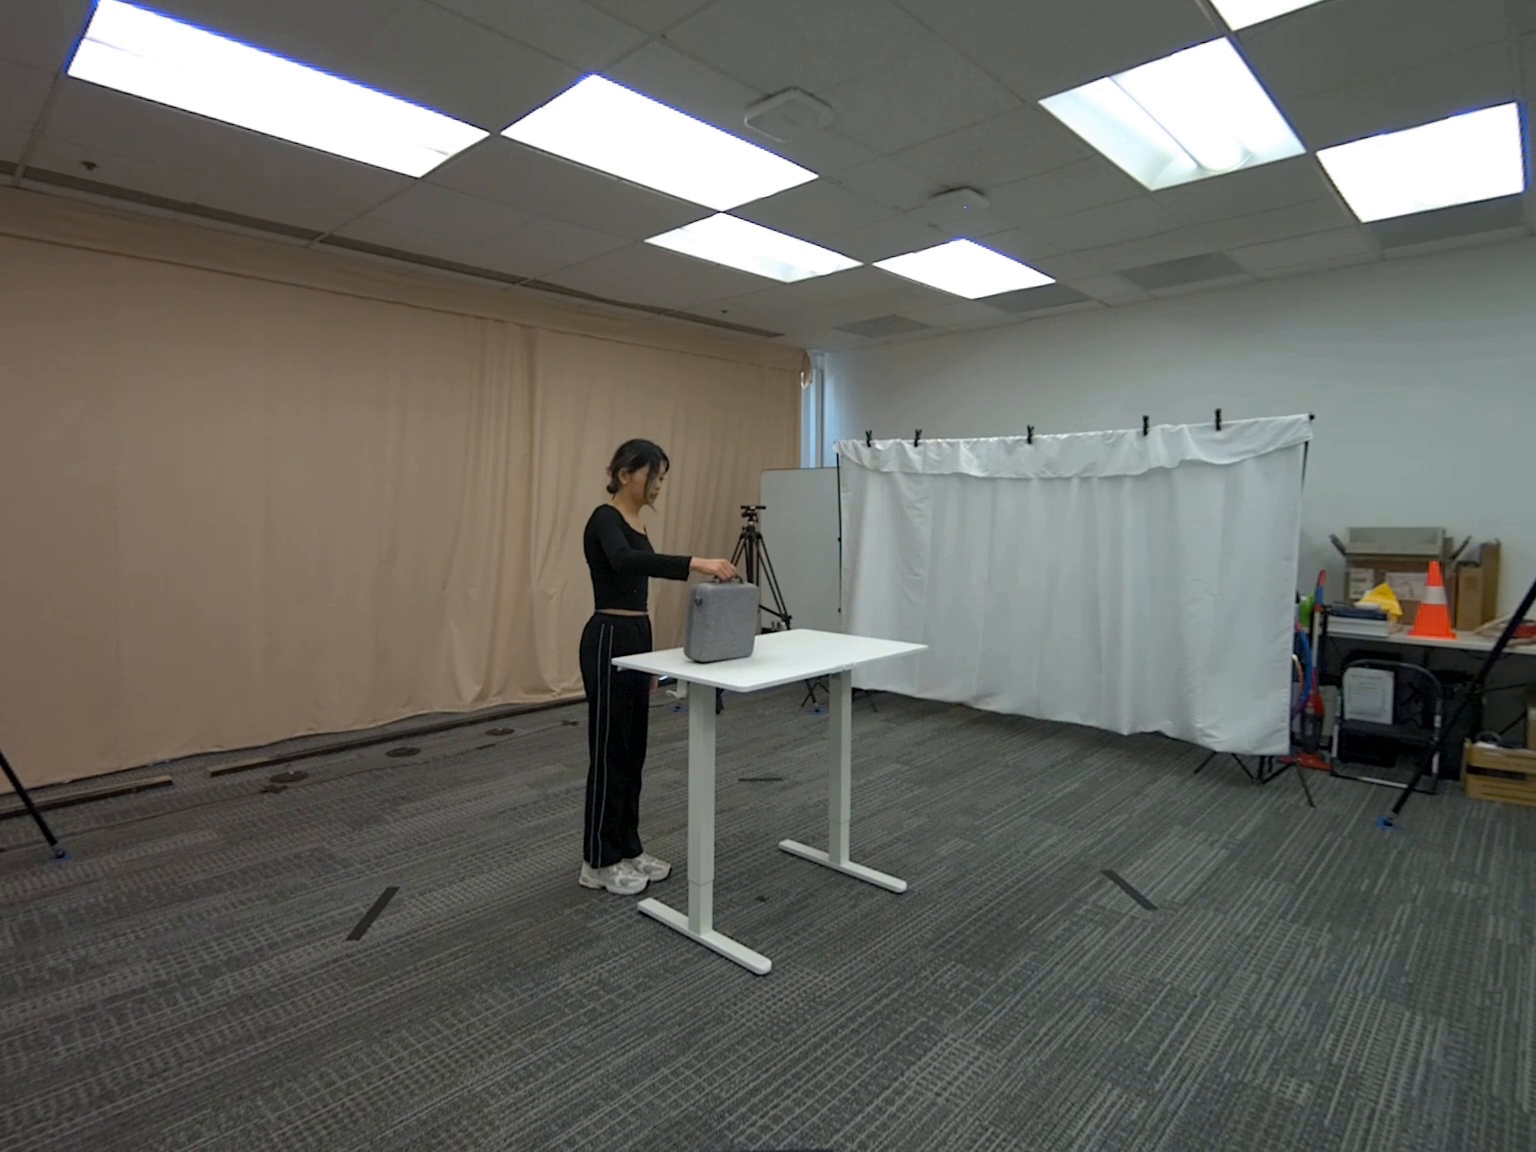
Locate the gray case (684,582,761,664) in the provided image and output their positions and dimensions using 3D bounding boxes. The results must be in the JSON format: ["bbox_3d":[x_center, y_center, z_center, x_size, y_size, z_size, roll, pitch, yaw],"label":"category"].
[{"bbox_3d":[-0.146,0.145,2.774,0.249,0.260,0.108,-1,9,-43],"label":"gray case"}]
